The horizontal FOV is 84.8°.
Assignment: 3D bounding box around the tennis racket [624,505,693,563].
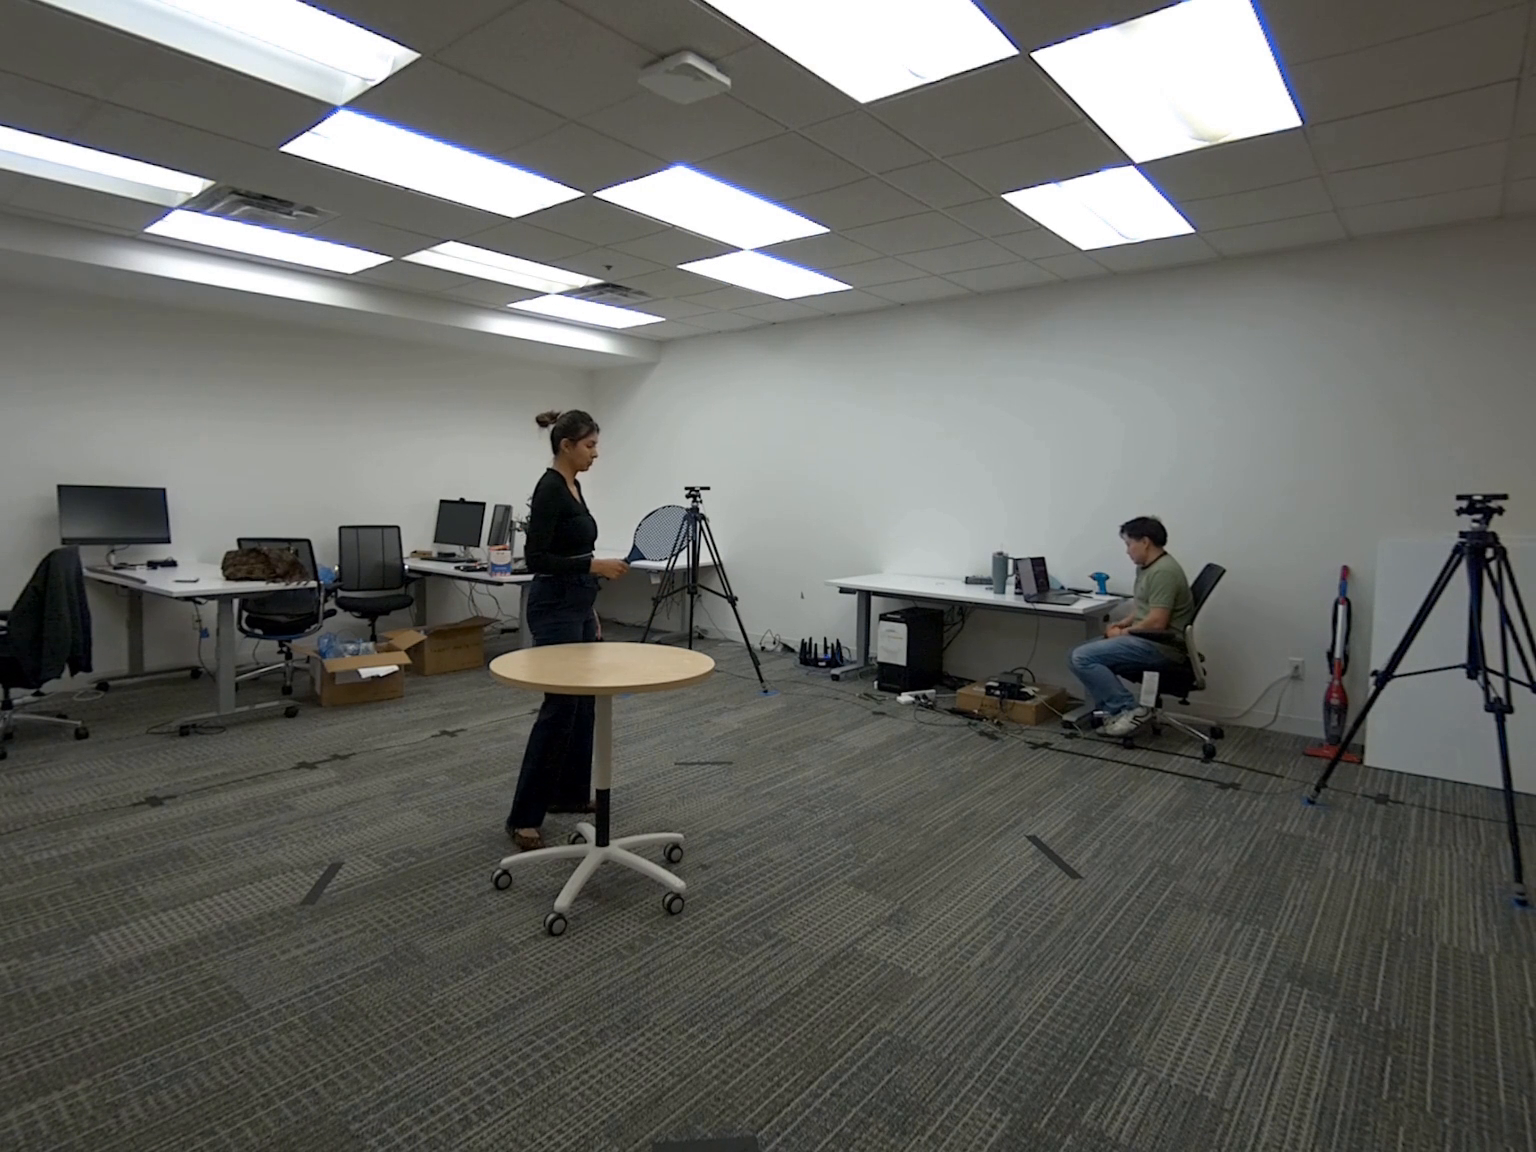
[{"bbox_3d":[-0.496,-0.126,3.384,0.433,0.209,0.032,-34,16,0],"label":"tennis racket"}]
